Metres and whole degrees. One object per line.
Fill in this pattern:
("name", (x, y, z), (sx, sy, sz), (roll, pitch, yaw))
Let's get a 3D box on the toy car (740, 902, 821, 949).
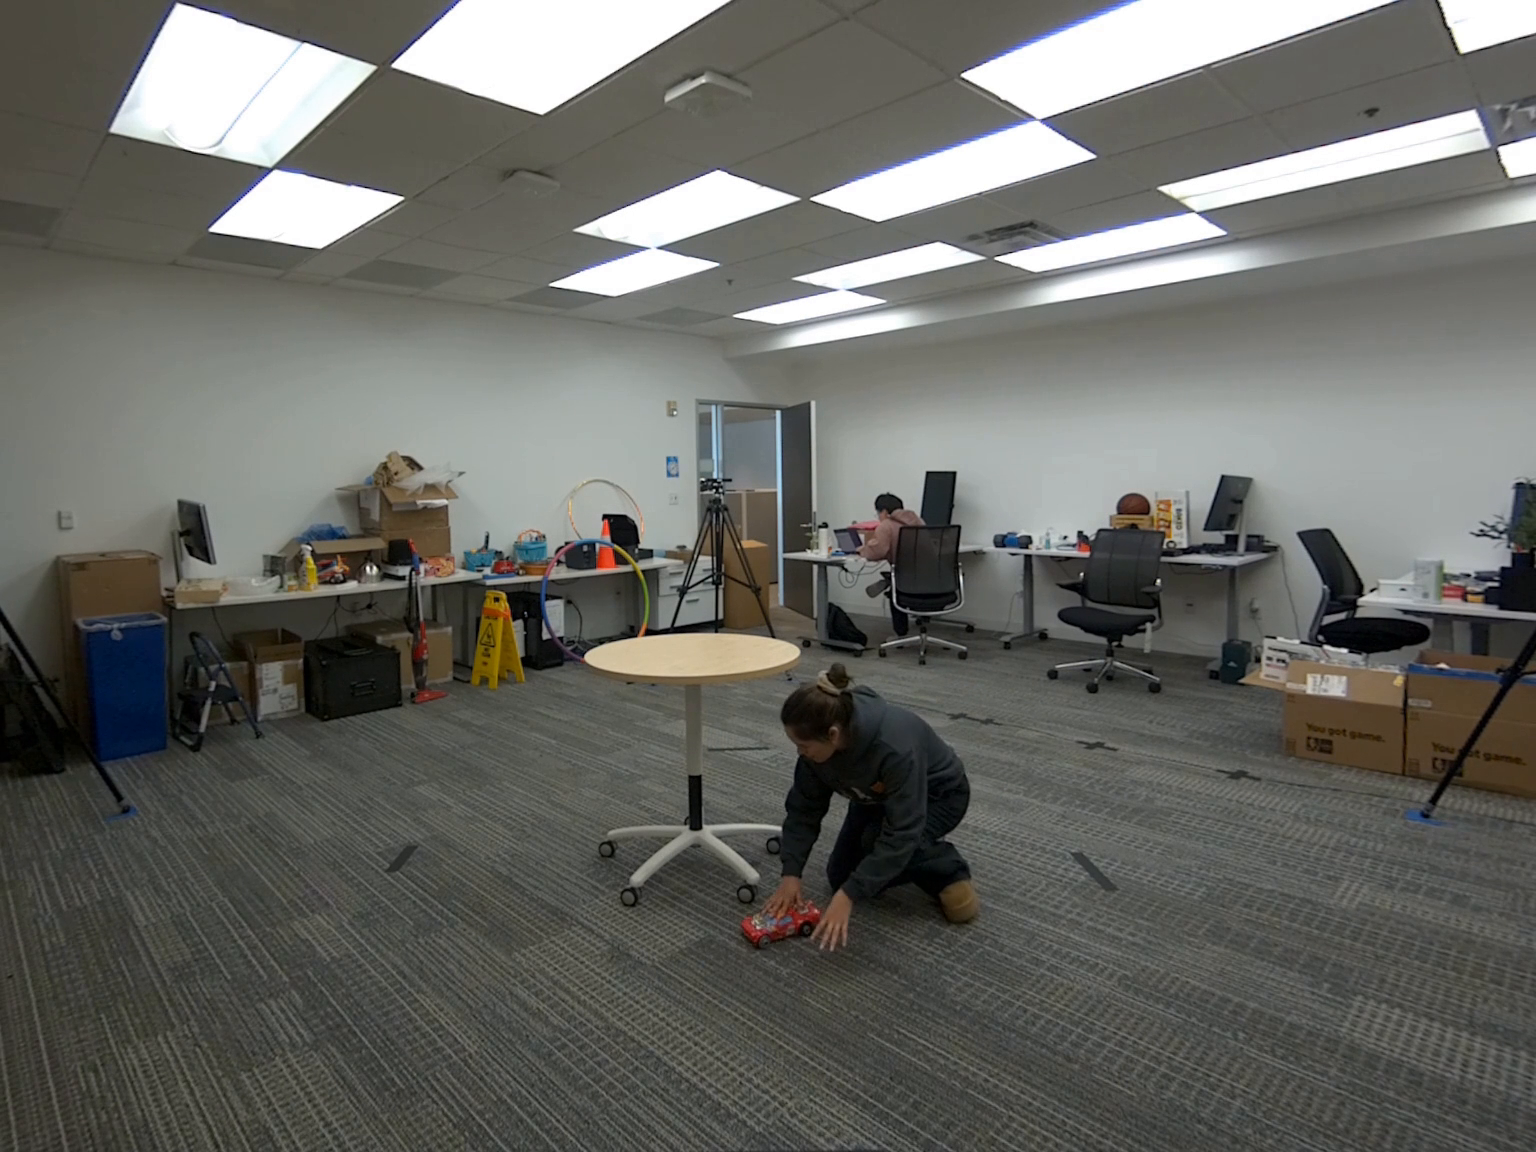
("toy car", (0.043, 1.063, 2.626), (0.250, 0.082, 0.133), (-16, 10, -25))
